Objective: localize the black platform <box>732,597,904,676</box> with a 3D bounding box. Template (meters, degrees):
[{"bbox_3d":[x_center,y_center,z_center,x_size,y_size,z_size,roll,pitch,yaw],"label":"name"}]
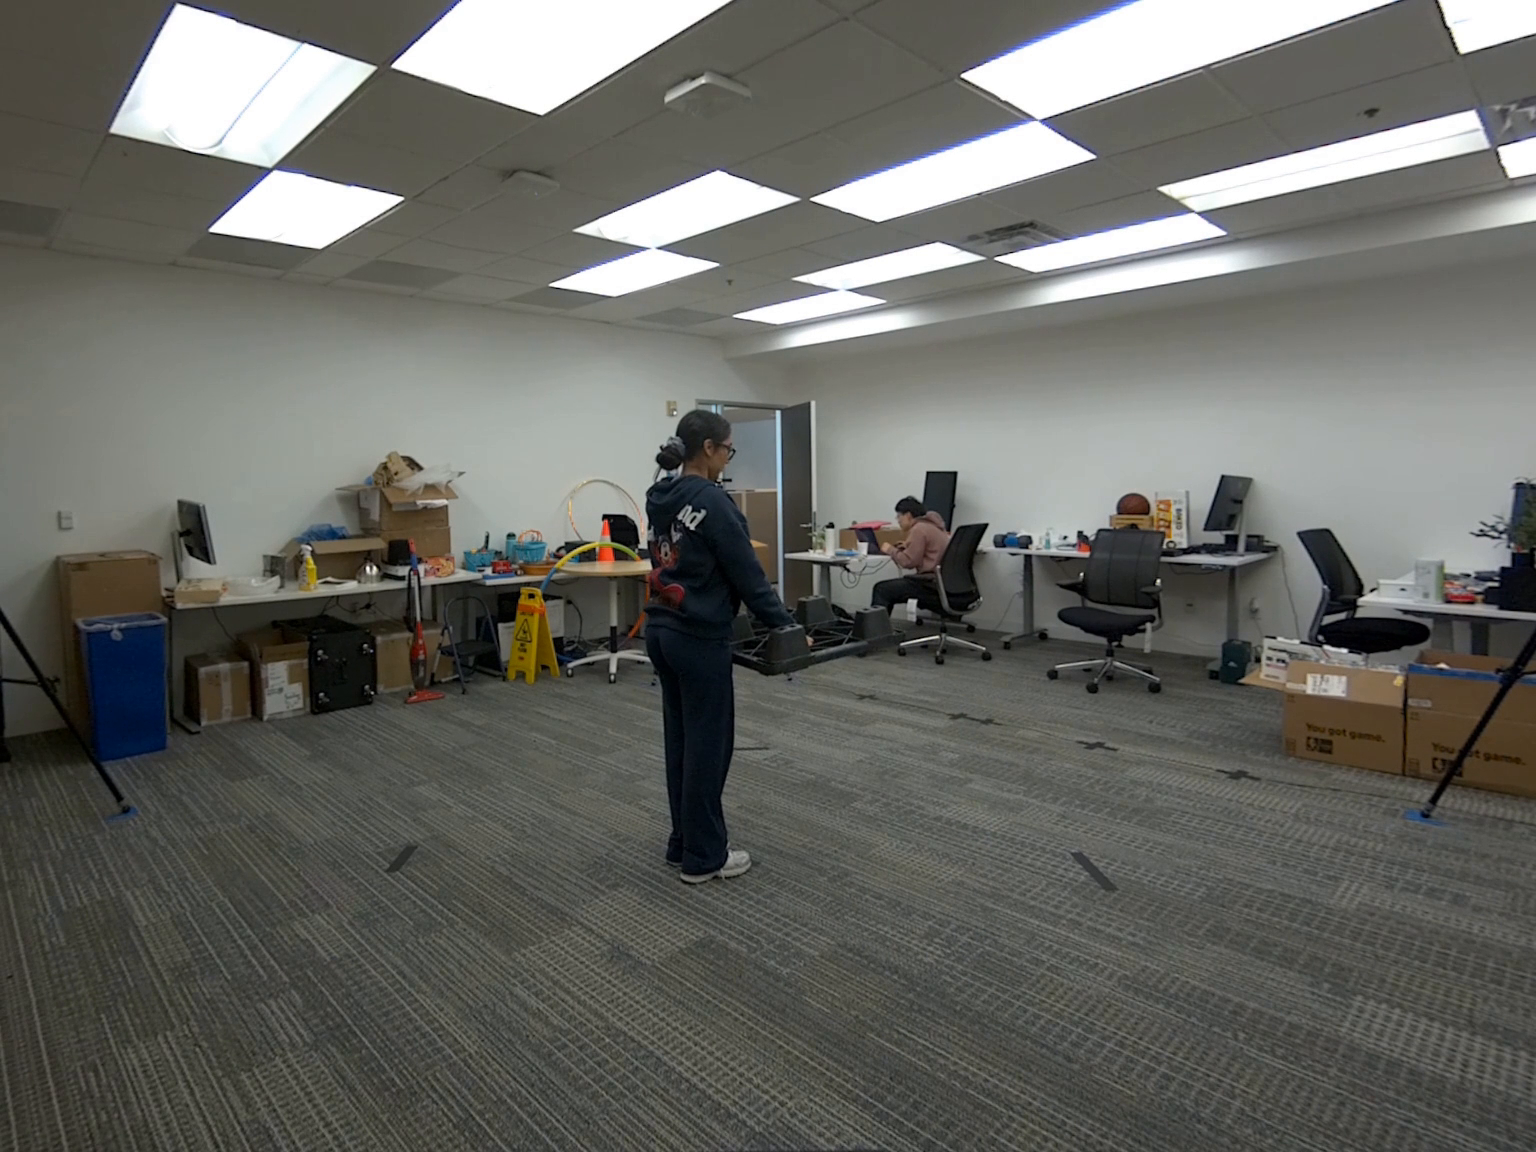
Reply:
[{"bbox_3d":[0.024,0.180,3.225,0.592,0.142,0.829,-10,11,-32],"label":"black platform"}]
